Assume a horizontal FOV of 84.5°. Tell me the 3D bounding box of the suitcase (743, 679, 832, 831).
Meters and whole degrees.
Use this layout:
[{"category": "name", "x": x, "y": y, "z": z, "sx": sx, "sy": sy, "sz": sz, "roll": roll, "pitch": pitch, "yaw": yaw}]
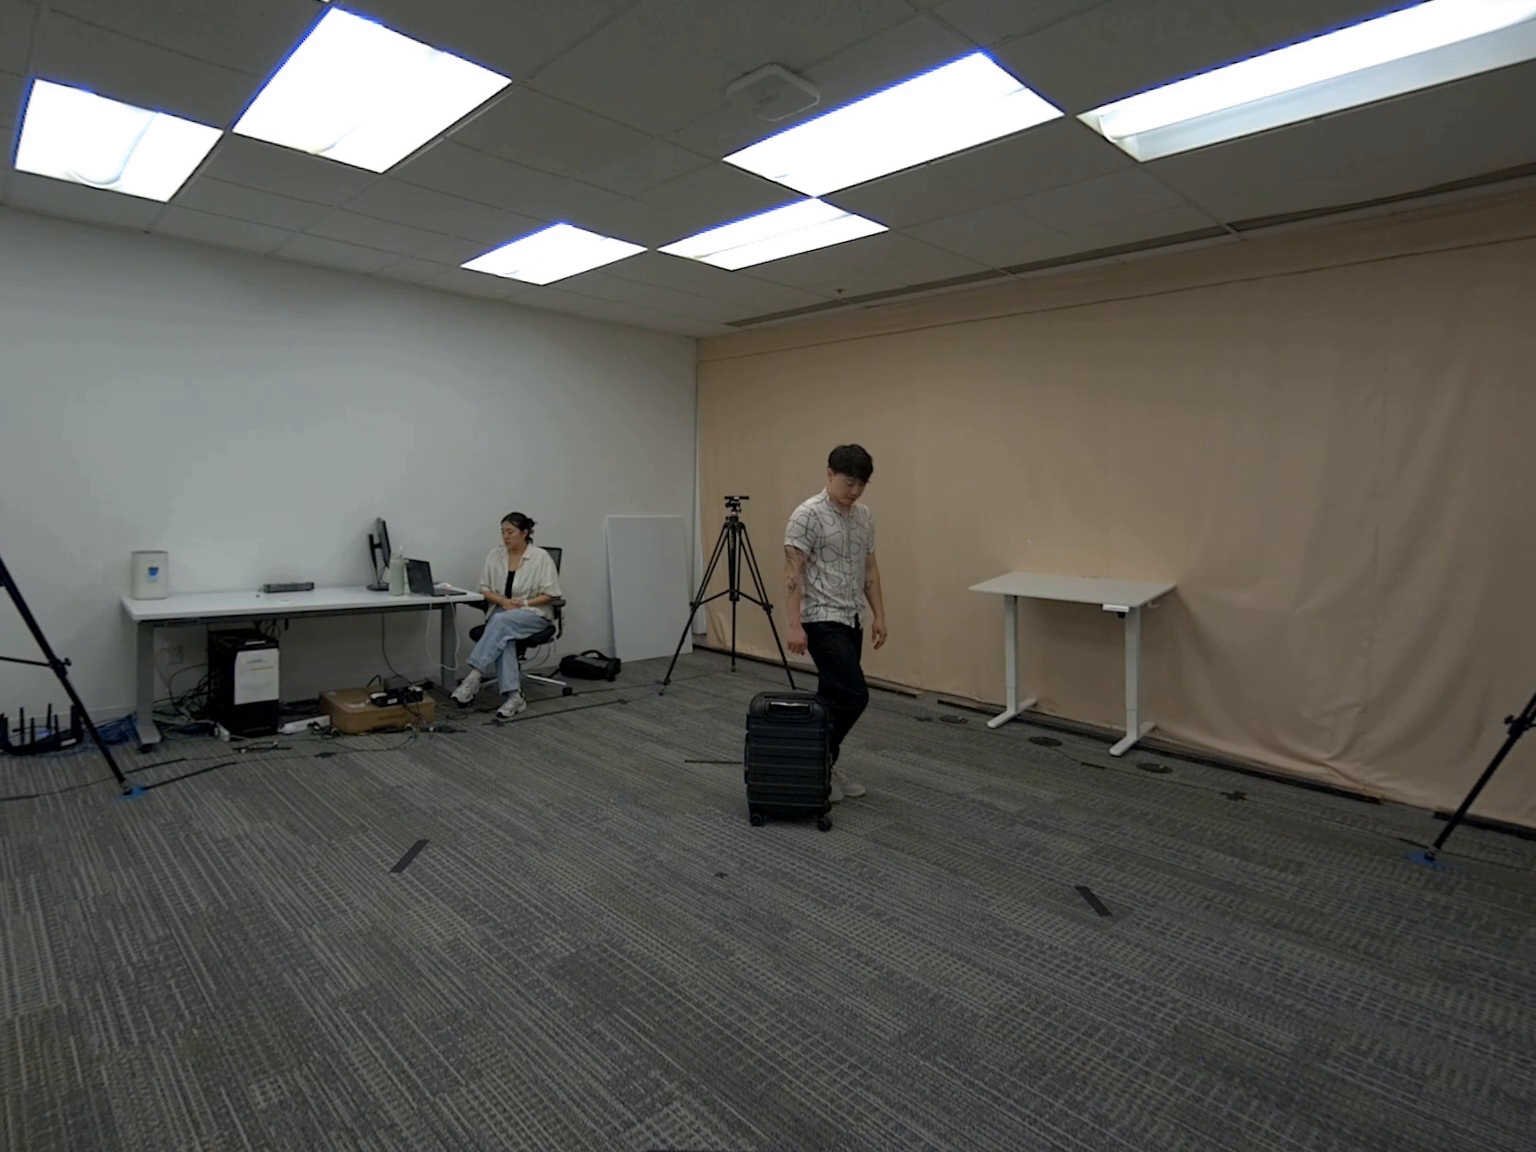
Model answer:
[{"category": "suitcase", "x": 0.080, "y": 0.787, "z": 3.678, "sx": 0.377, "sy": 0.549, "sz": 0.247, "roll": 0, "pitch": 1, "yaw": 6}]
